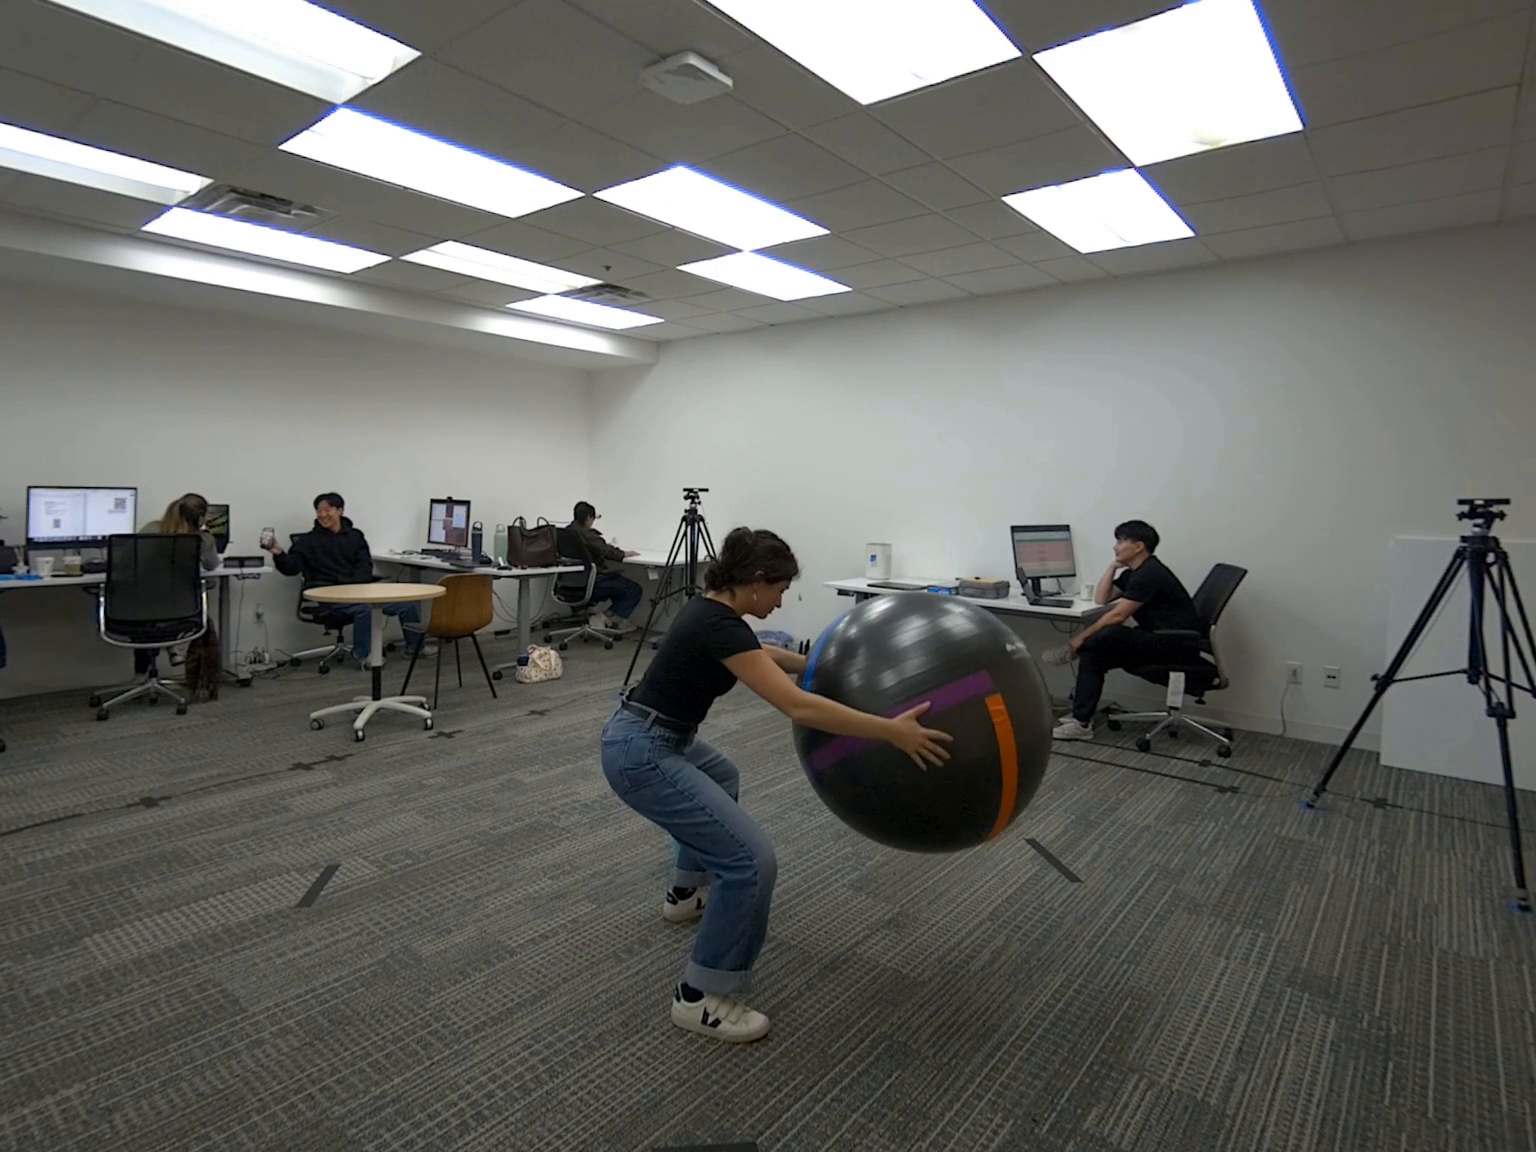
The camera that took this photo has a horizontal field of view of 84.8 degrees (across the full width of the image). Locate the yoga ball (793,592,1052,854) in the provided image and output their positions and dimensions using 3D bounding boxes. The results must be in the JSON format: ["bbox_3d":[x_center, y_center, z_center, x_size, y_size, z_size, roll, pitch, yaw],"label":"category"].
[{"bbox_3d":[0.443,0.423,2.533,0.757,0.756,0.762,1,4,-2],"label":"yoga ball"}]
